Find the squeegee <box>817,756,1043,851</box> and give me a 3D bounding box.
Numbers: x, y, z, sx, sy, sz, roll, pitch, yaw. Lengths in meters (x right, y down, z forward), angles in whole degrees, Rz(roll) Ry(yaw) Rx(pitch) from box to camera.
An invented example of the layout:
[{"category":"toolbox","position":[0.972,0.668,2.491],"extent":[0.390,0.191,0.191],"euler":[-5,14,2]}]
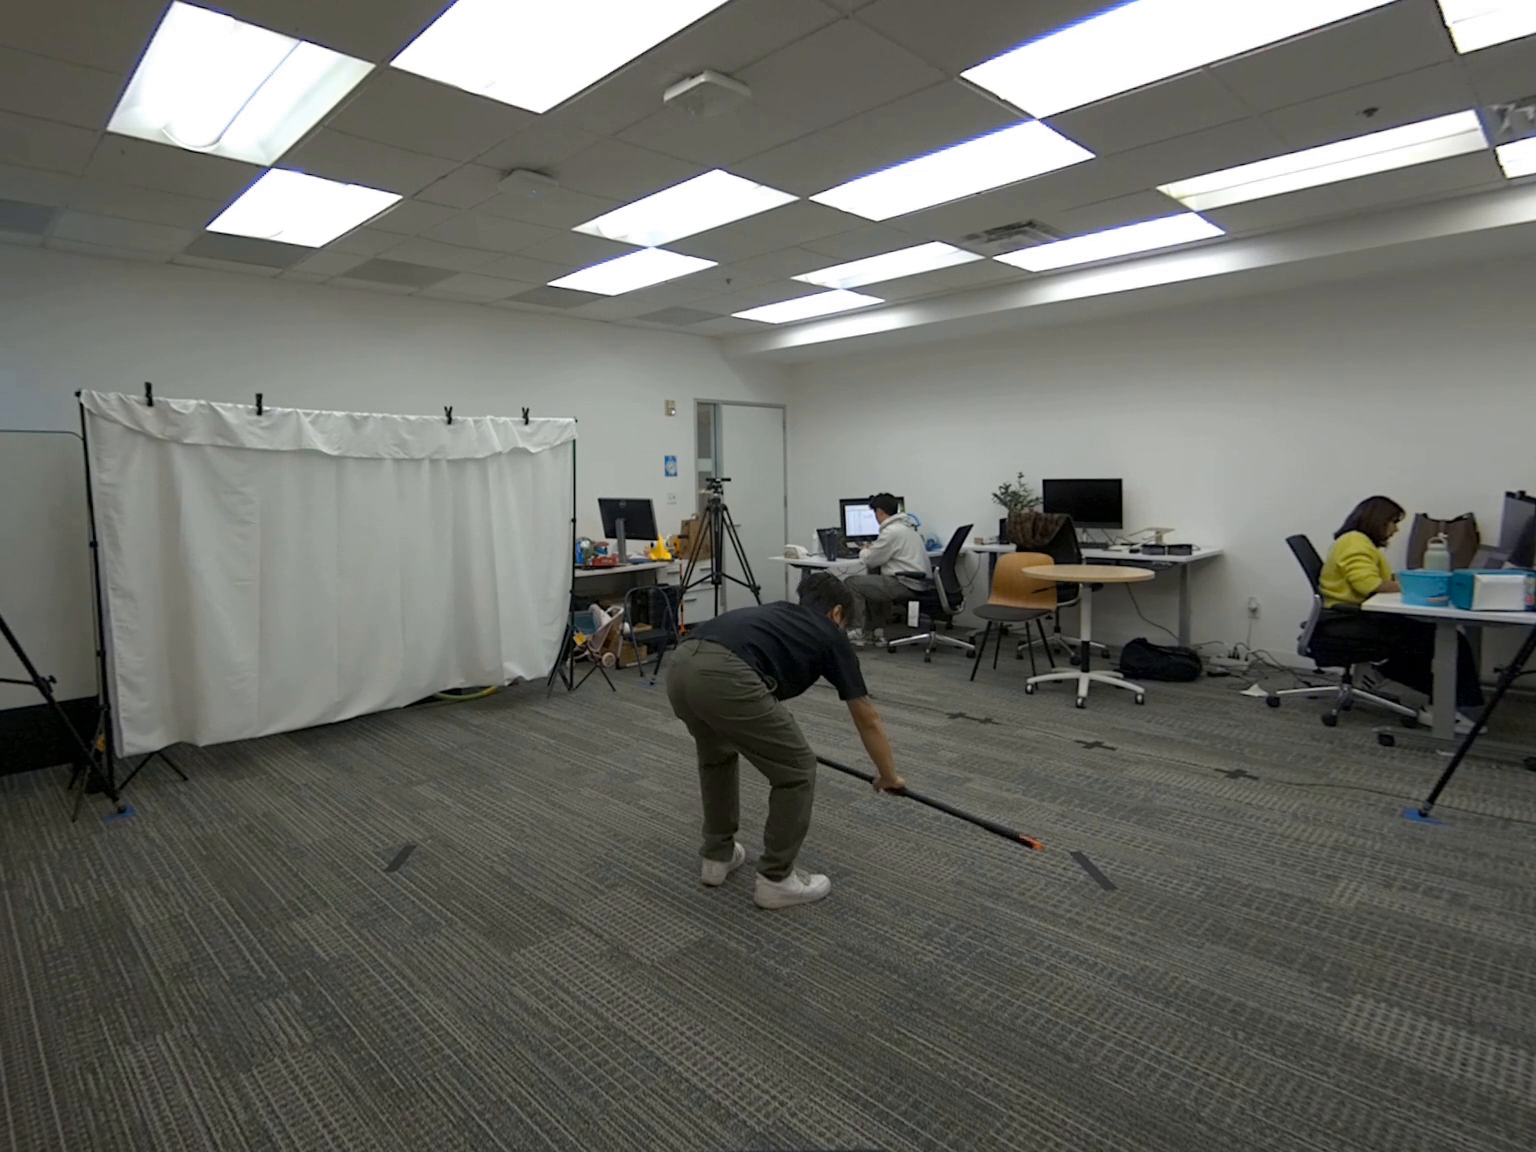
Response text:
[{"category":"squeegee","position":[0.301,0.722,3.192],"extent":[0.421,0.053,1.589],"euler":[26,-10,-42]}]
